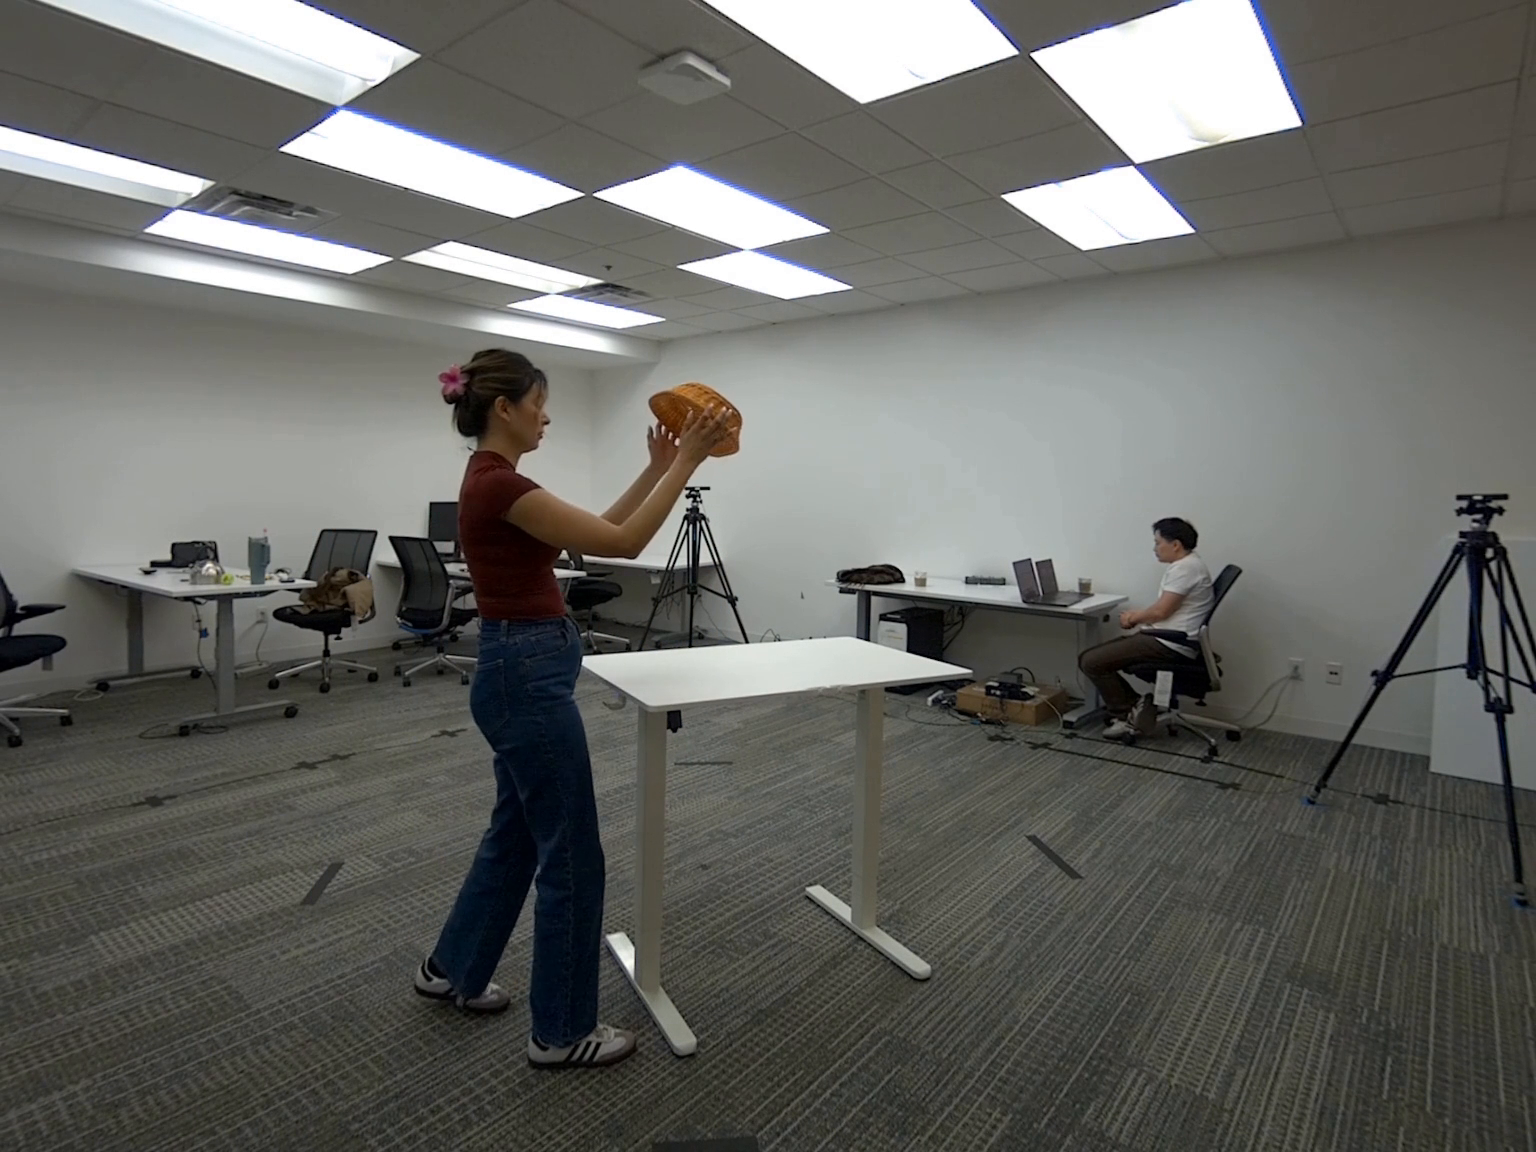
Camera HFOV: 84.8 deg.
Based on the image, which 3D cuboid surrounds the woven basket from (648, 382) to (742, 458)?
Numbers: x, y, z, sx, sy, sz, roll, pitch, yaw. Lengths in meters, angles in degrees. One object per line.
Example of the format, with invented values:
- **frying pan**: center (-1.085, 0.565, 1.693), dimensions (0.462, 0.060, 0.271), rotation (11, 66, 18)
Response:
- **woven basket**: center (-0.200, -0.414, 2.211), dimensions (0.245, 0.073, 0.360), rotation (40, -12, -22)
